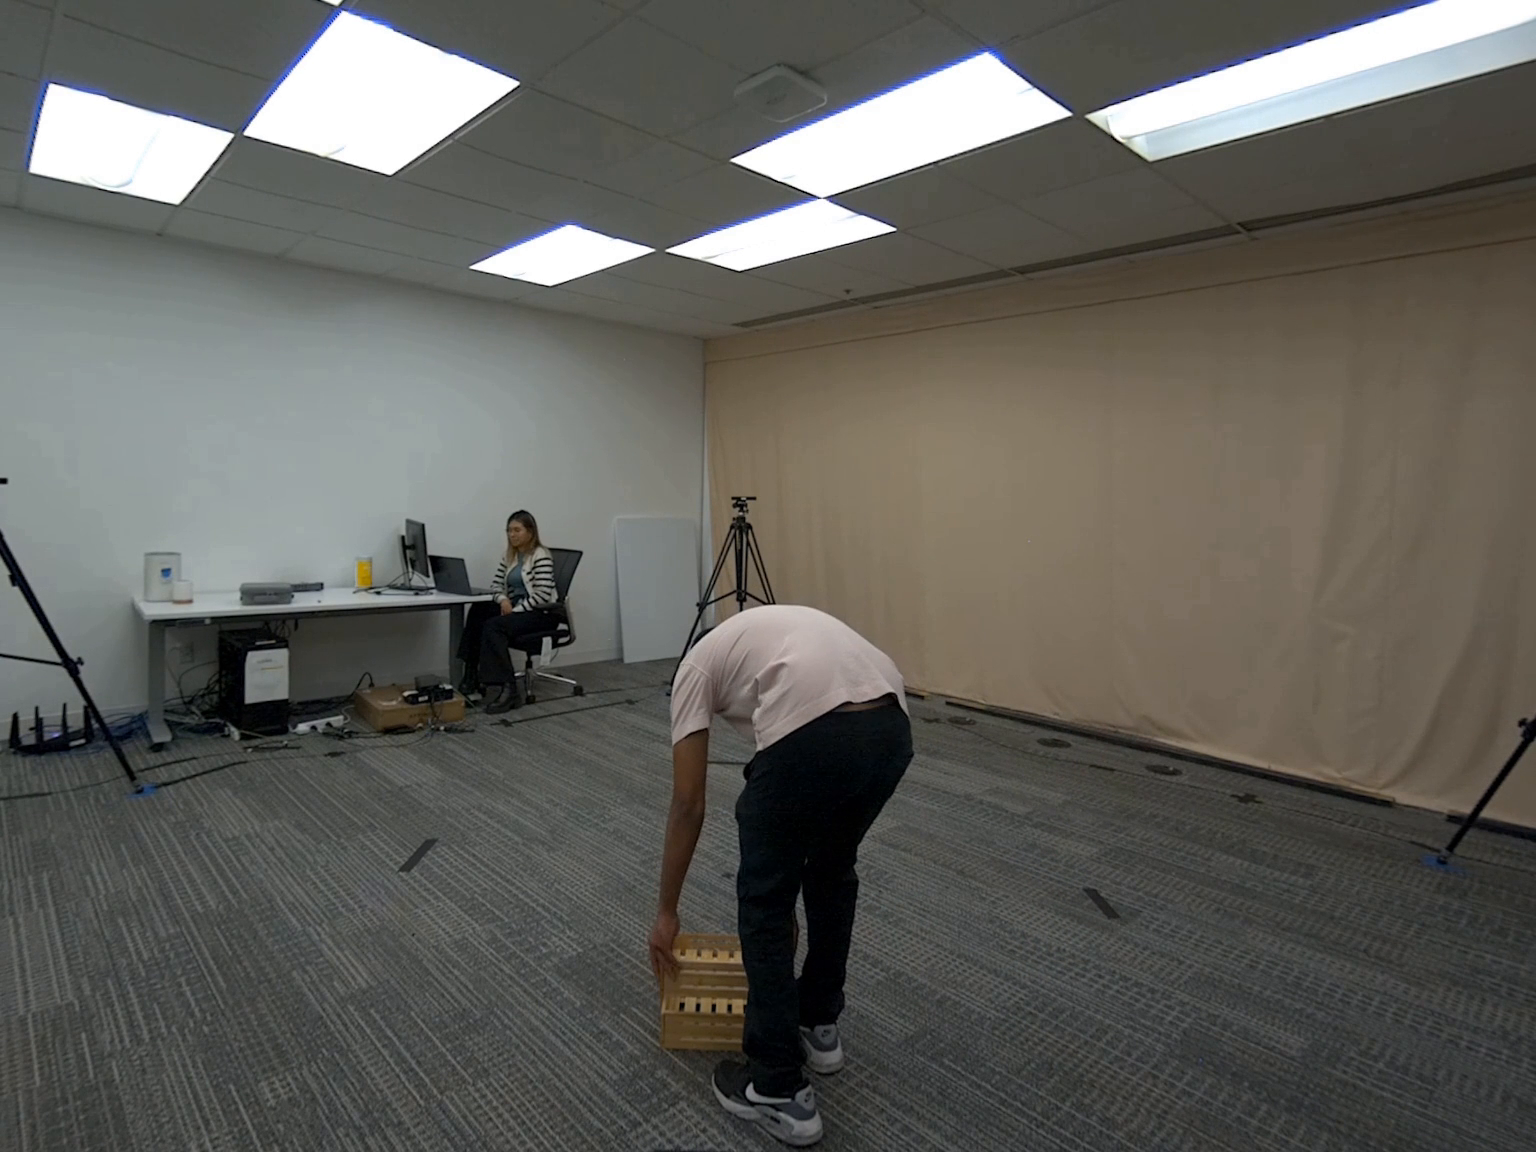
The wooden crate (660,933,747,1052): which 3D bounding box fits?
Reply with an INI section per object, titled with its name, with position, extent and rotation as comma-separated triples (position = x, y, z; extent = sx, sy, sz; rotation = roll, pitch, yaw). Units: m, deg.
[wooden crate]
position = -0.123, 1.057, 2.212
extent = 0.324, 0.272, 0.303
rotation = 2, 5, -1
